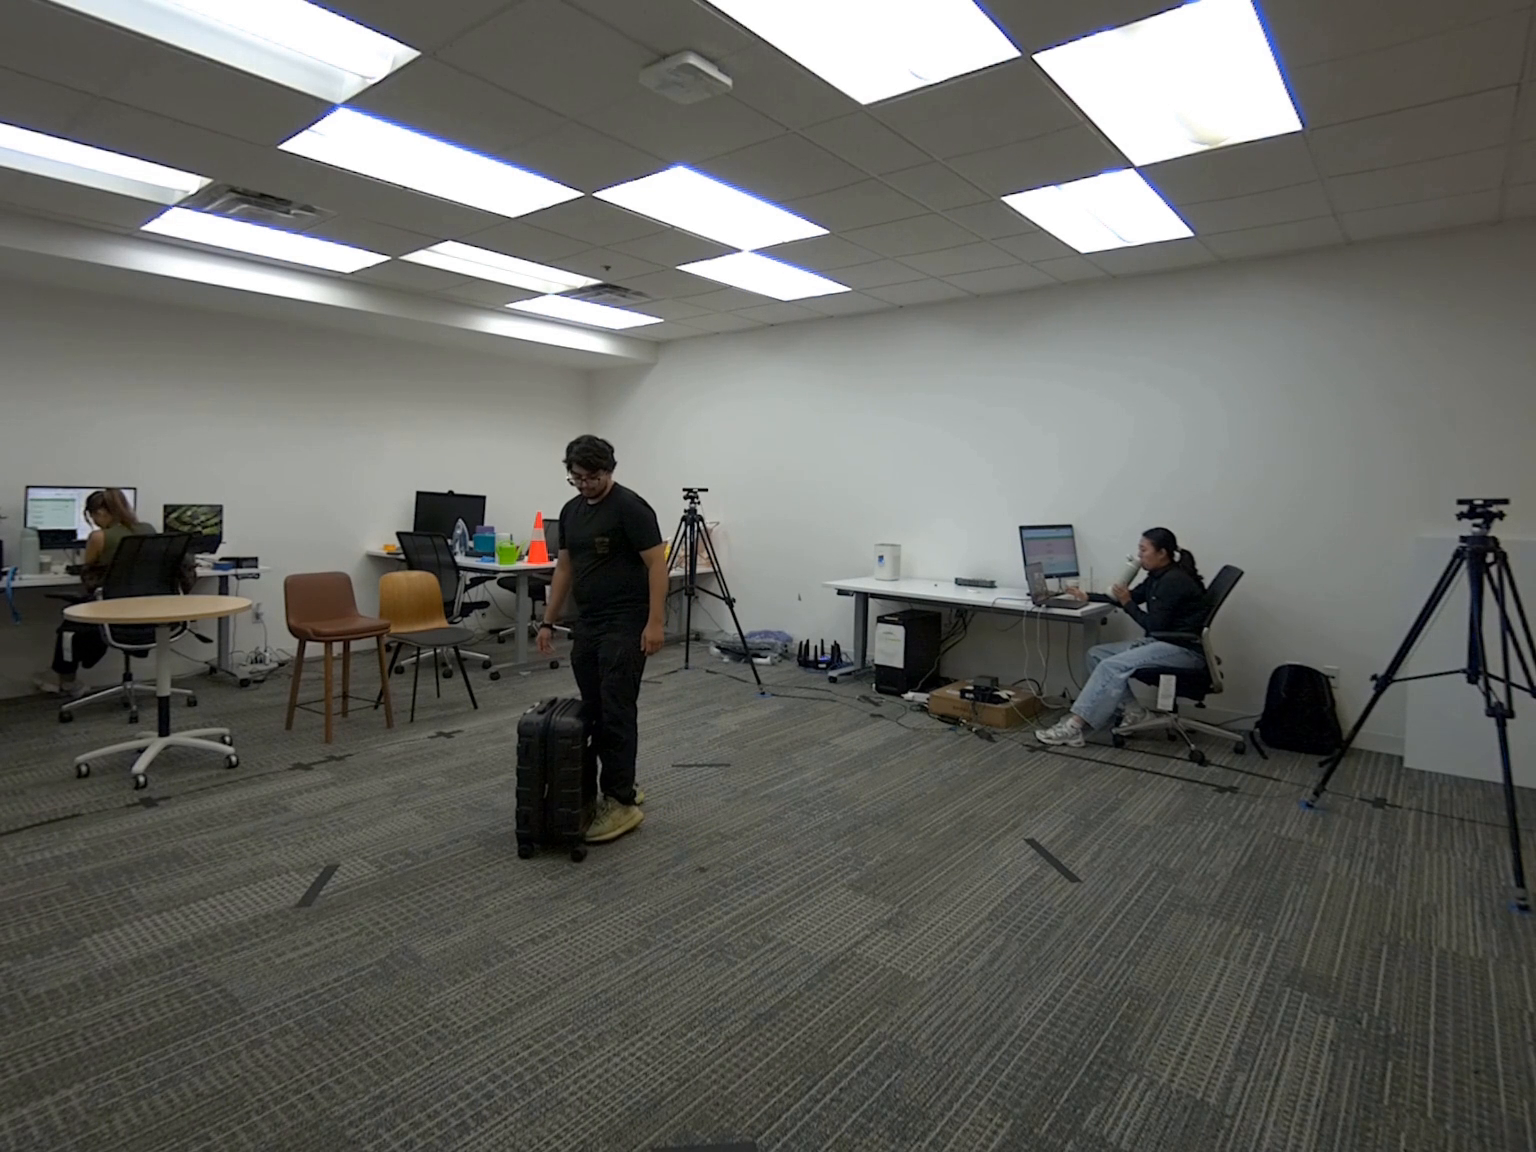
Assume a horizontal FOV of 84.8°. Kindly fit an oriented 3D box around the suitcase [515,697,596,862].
[{"bbox_3d":[-0.832,0.765,3.311,0.249,0.548,0.375,0,3,3],"label":"suitcase"}]
